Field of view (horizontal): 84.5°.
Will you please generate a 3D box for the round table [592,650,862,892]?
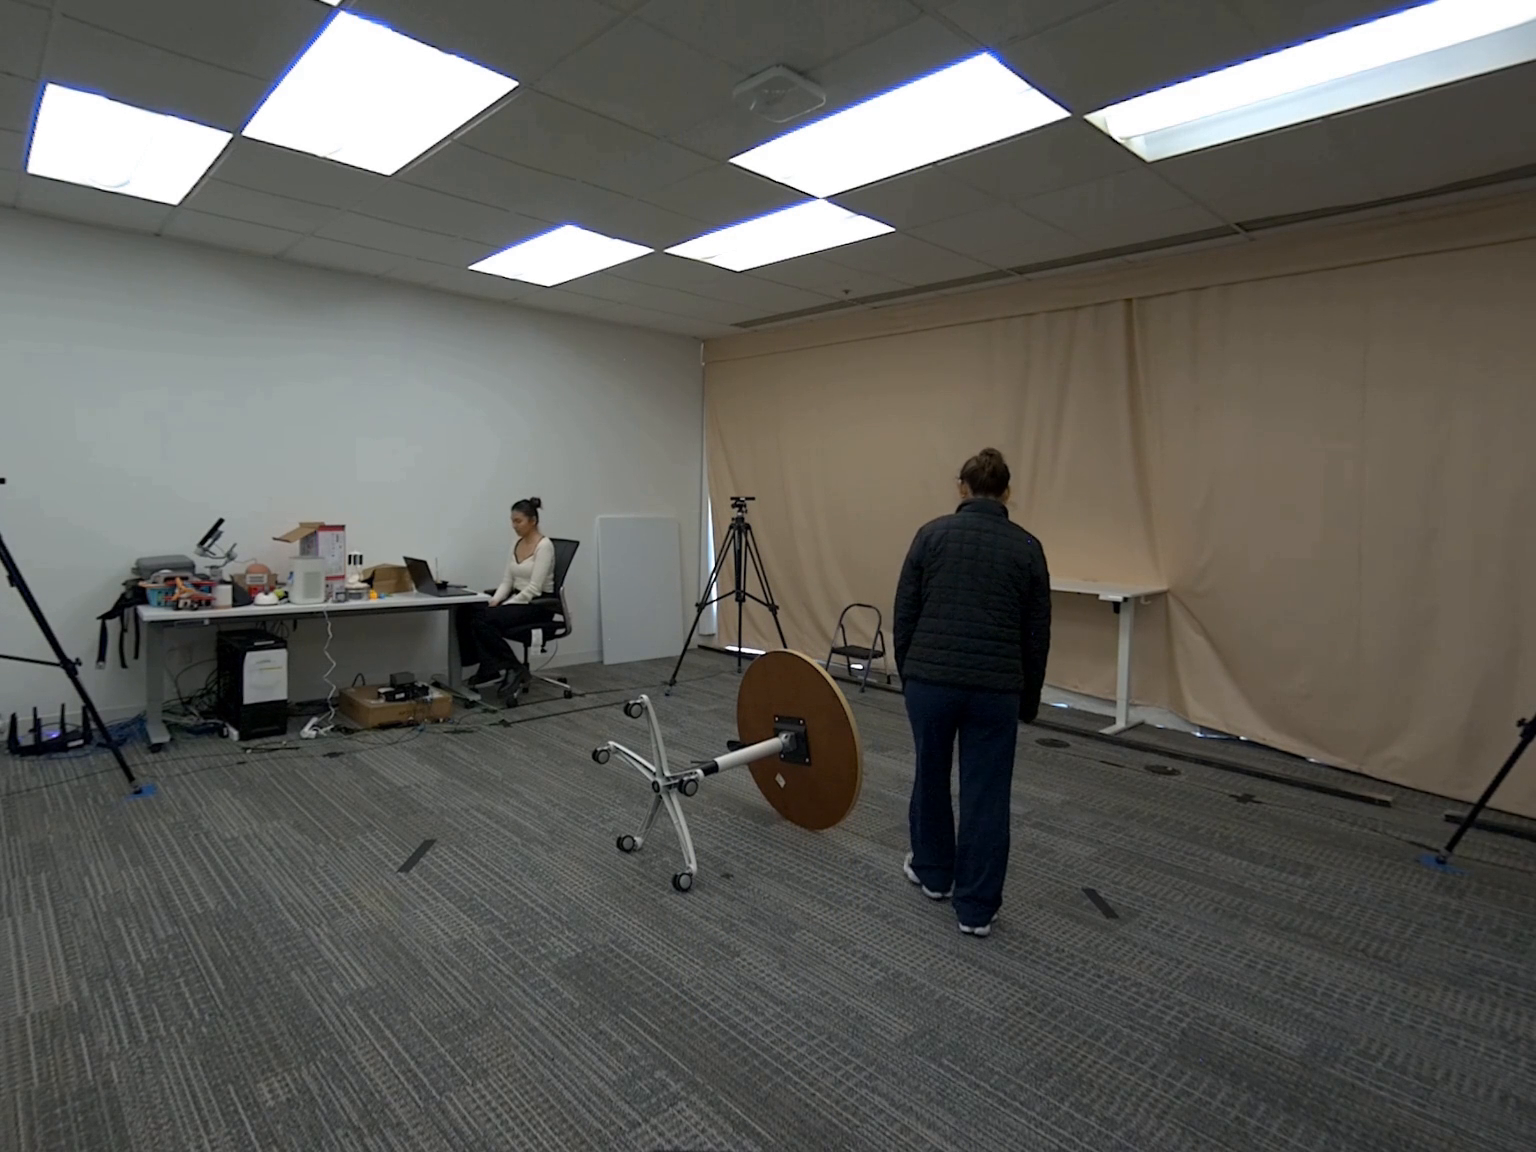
[{"bbox_3d":[-0.189,0.746,3.339,0.771,0.781,0.805,-8,9,-38],"label":"round table"}]
